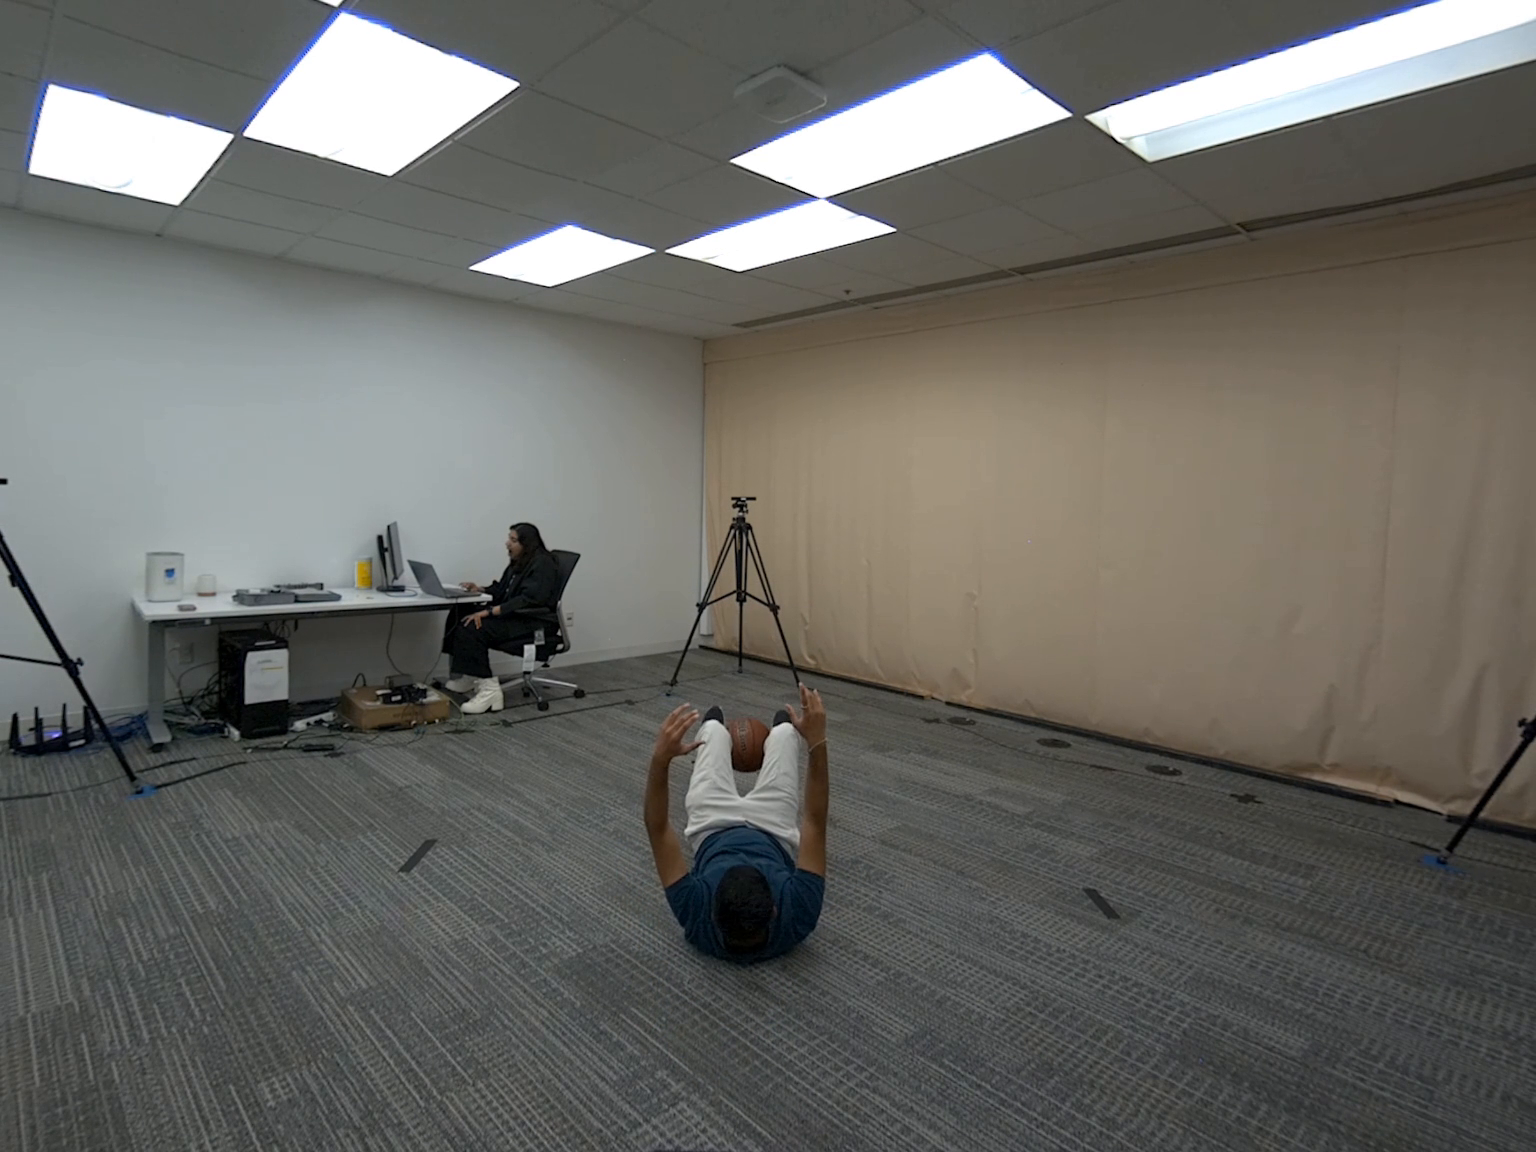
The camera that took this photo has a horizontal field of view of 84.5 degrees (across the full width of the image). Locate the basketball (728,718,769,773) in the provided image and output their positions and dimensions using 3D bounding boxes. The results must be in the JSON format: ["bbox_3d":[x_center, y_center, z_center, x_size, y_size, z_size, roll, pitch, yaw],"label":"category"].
[{"bbox_3d":[-0.112,0.734,3.731,0.236,0.235,0.237,1,4,-1],"label":"basketball"}]
